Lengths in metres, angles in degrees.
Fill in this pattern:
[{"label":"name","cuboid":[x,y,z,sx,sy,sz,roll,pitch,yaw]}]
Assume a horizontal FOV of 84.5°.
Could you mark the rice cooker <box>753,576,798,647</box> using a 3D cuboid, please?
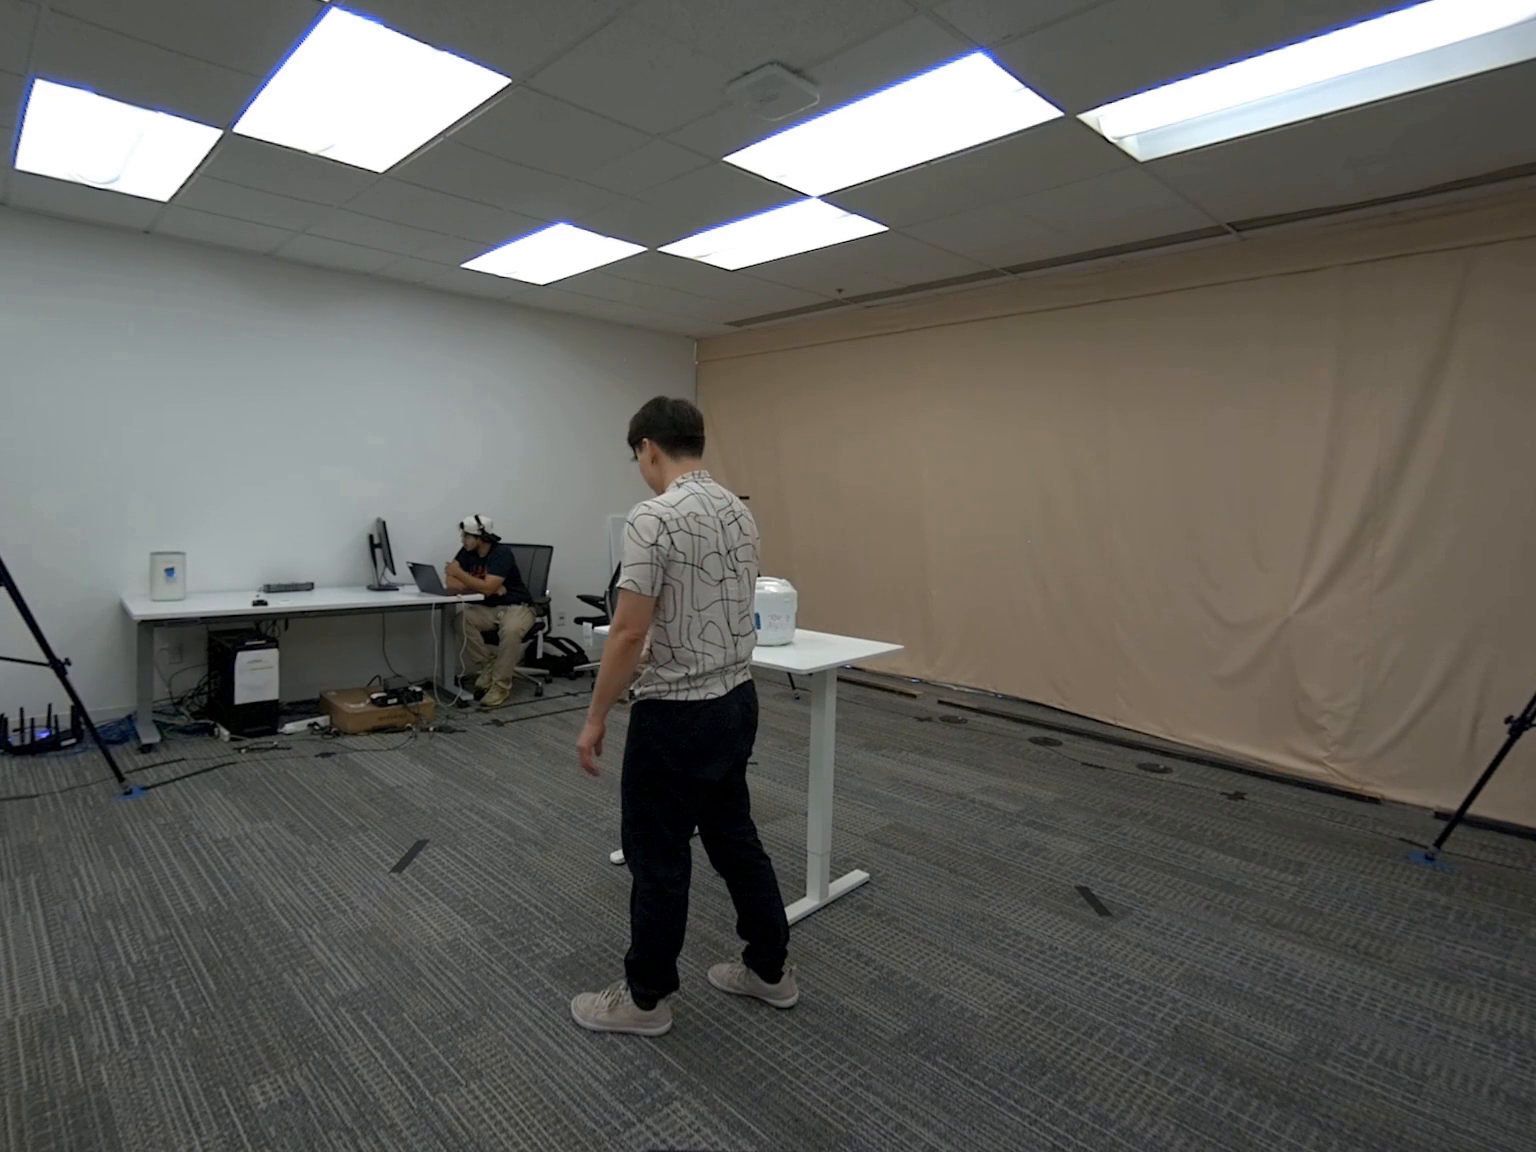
[{"label":"rice cooker","cuboid":[-0.011,0.121,2.979,0.223,0.232,0.216,3,5,11]}]
